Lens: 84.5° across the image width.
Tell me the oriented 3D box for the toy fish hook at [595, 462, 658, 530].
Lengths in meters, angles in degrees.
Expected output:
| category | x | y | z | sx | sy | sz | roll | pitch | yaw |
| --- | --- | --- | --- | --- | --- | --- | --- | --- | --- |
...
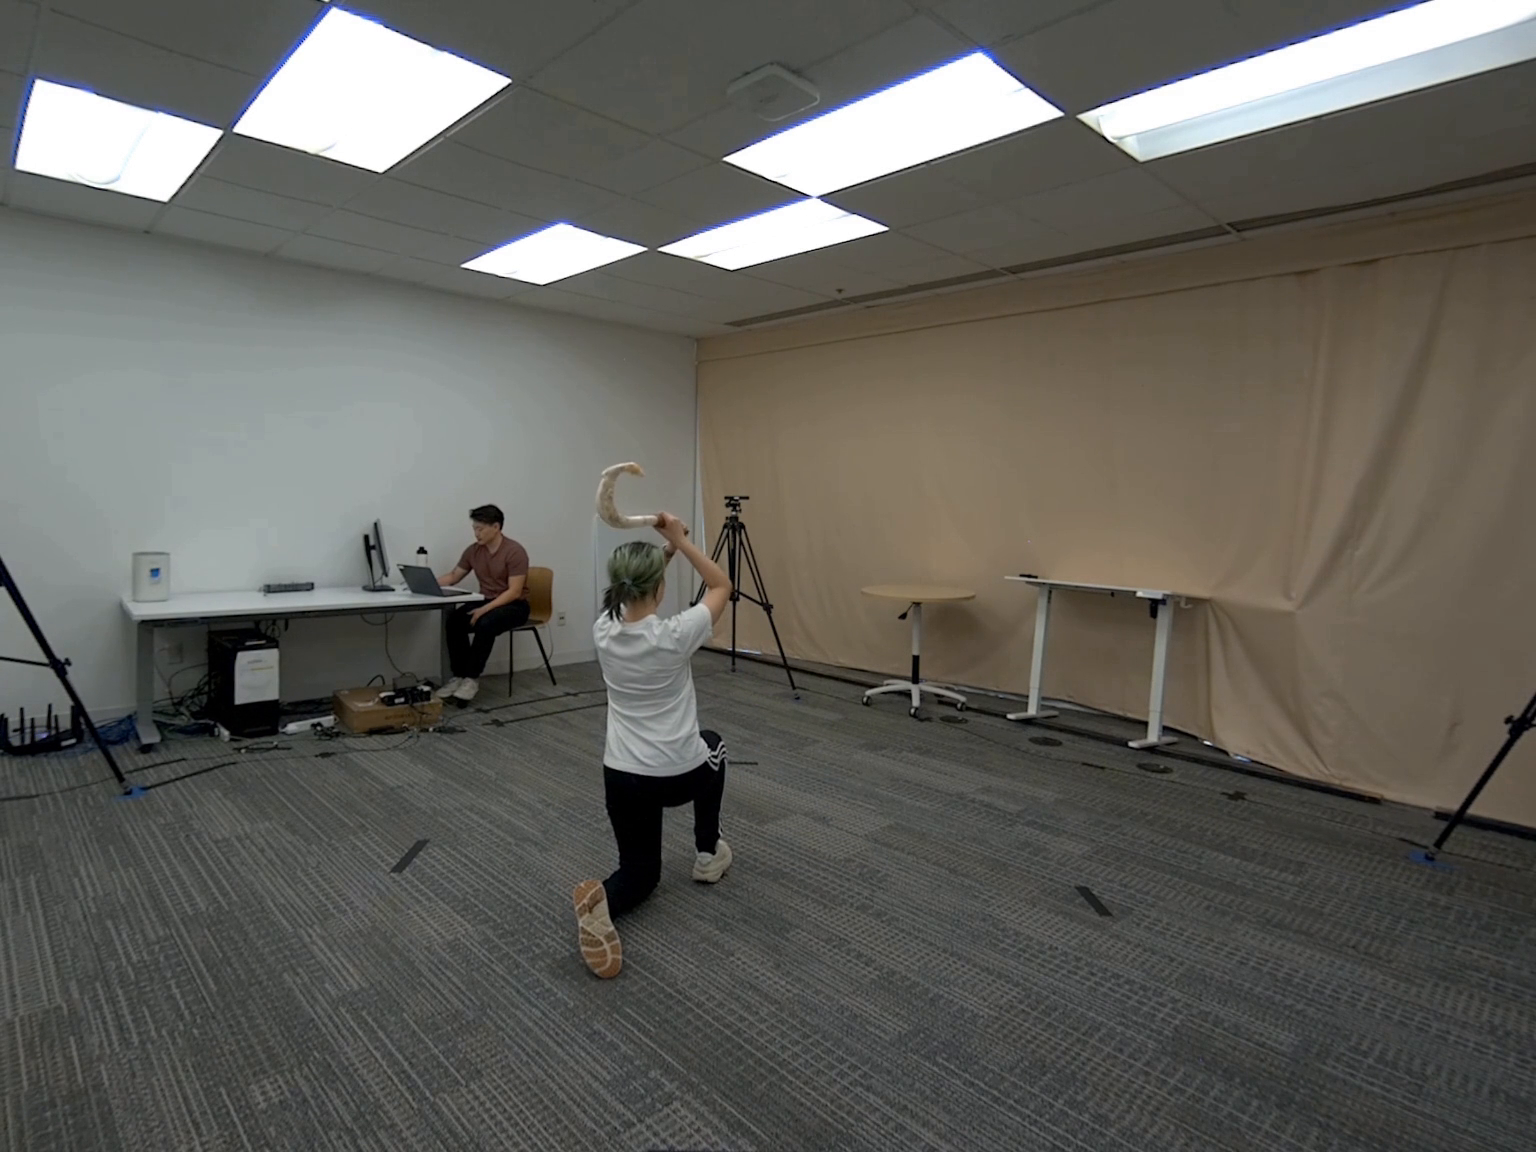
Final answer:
| category | x | y | z | sx | sy | sz | roll | pitch | yaw |
| --- | --- | --- | --- | --- | --- | --- | --- | --- | --- |
| toy fish hook | -0.418 | -0.252 | 2.909 | 0.049 | 0.225 | 0.493 | 12 | -1 | 31 |
